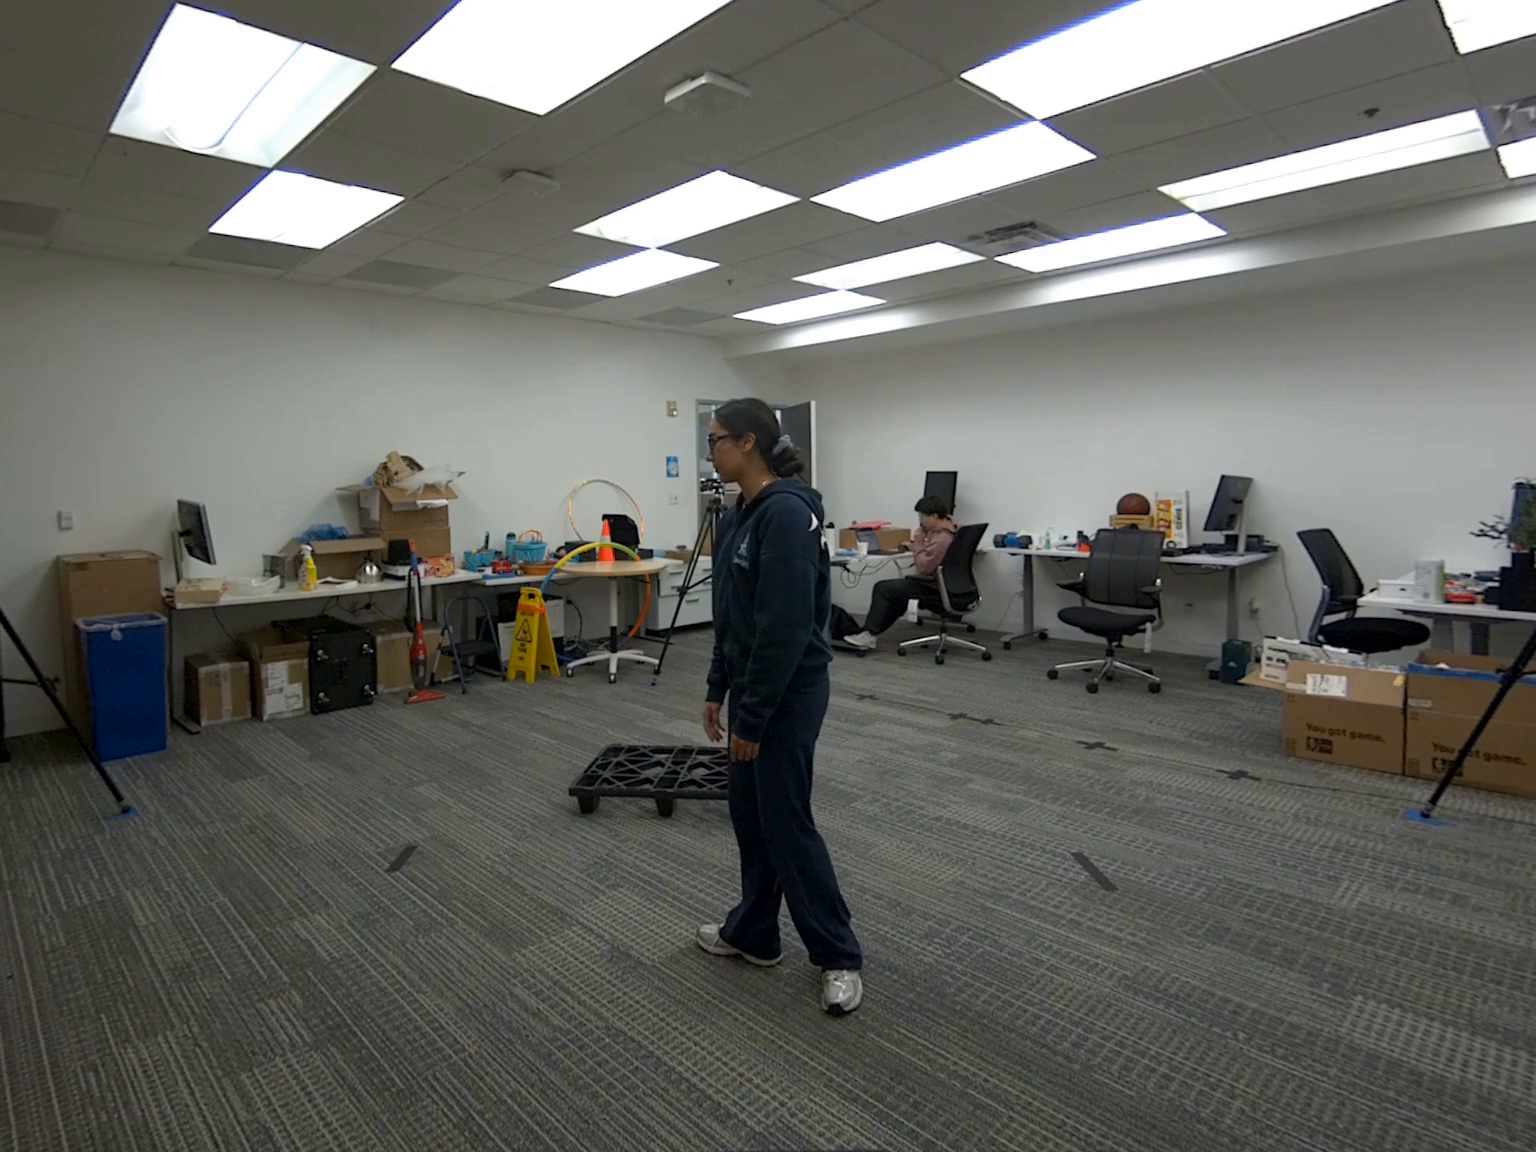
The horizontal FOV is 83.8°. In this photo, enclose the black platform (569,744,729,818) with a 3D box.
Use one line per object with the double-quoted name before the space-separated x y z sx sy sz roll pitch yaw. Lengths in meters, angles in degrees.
"black platform" -0.406 0.906 3.784 0.812 0.143 0.603 0 5 7
